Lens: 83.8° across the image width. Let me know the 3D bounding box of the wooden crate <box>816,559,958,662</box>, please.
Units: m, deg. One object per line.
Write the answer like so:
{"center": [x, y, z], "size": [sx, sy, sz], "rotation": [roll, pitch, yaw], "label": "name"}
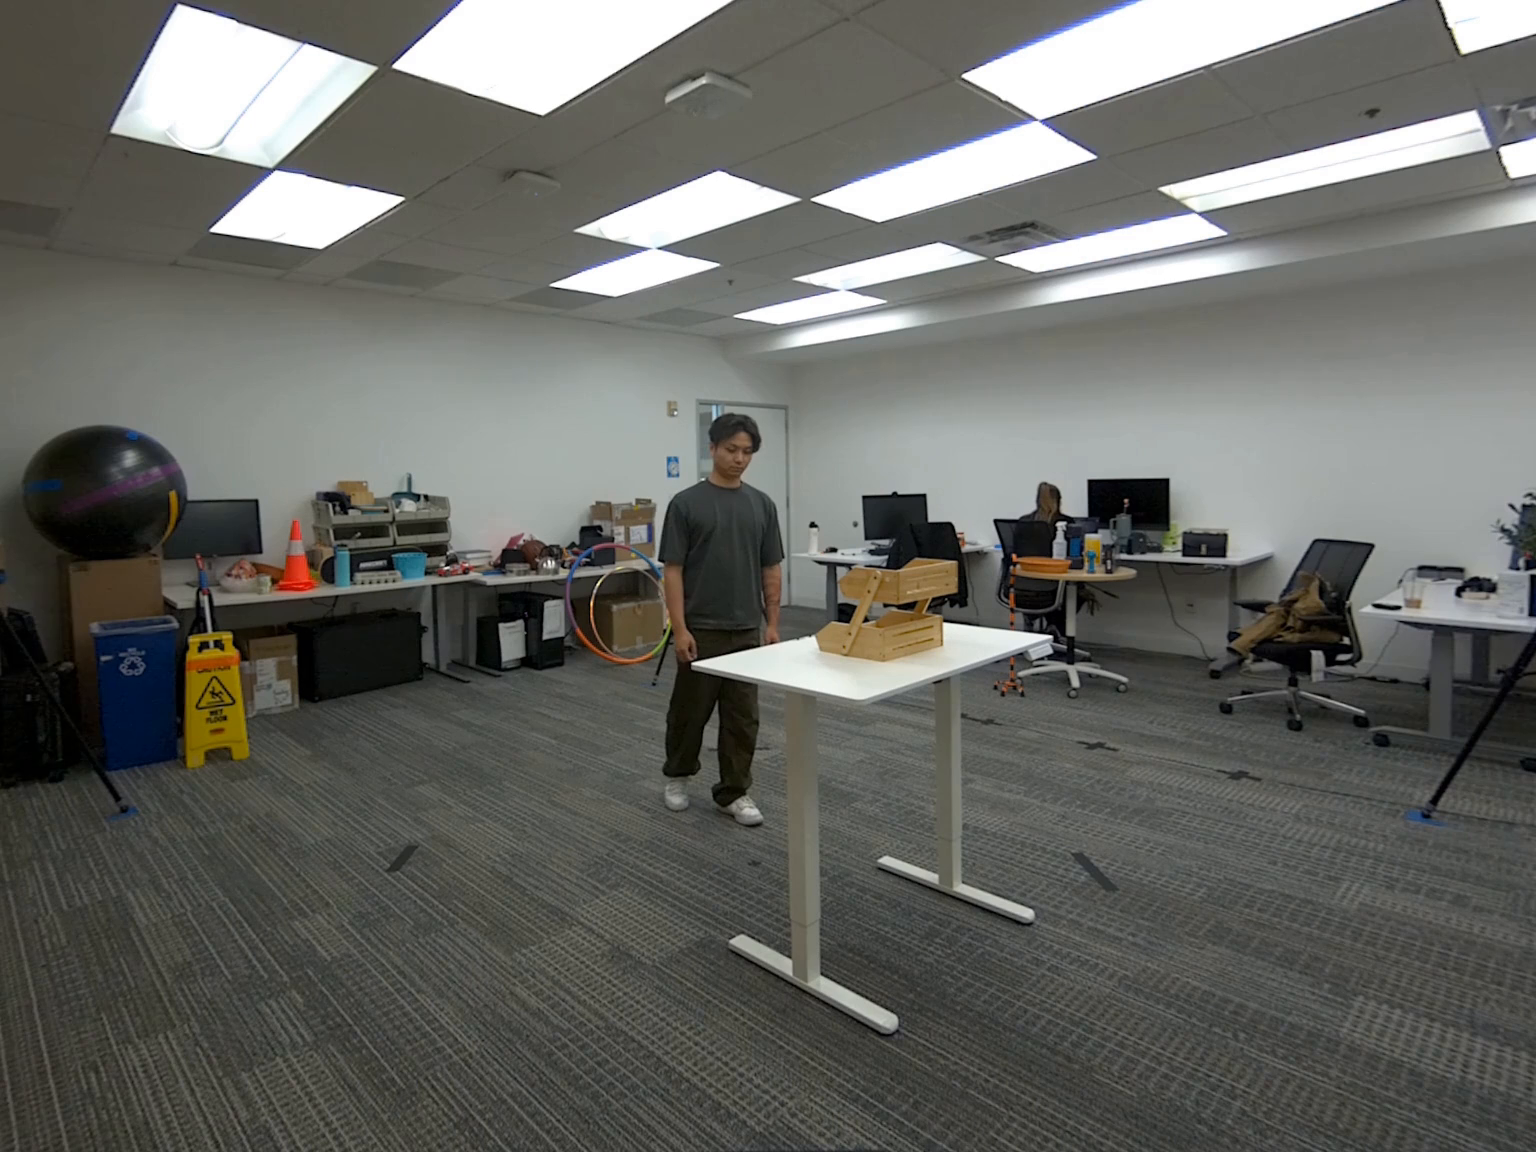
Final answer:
{"center": [0.355, 0.086, 2.544], "size": [0.316, 0.272, 0.311], "rotation": [-7, 8, -44], "label": "wooden crate"}
